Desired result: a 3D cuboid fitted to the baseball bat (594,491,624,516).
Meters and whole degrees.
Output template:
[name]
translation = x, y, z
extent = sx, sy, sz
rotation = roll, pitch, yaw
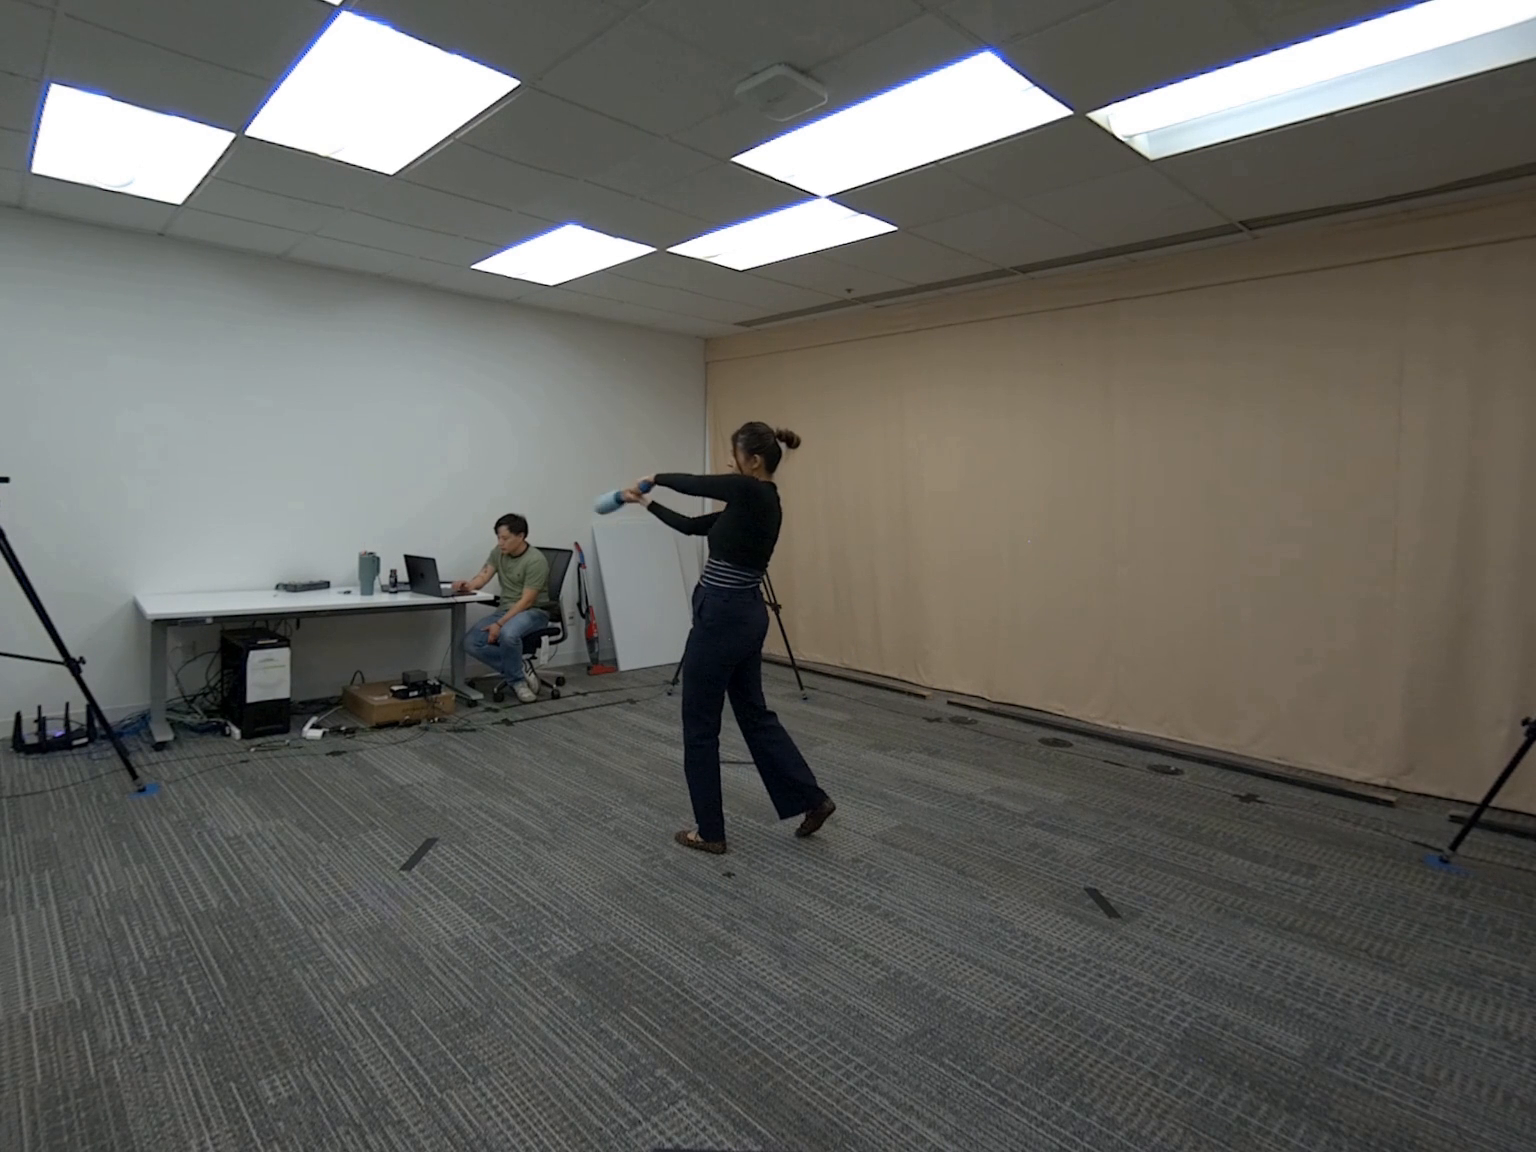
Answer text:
[baseball bat]
translation = -0.626, -0.344, 3.751
extent = 0.087, 0.089, 0.551
rotation = -1, -5, -29
